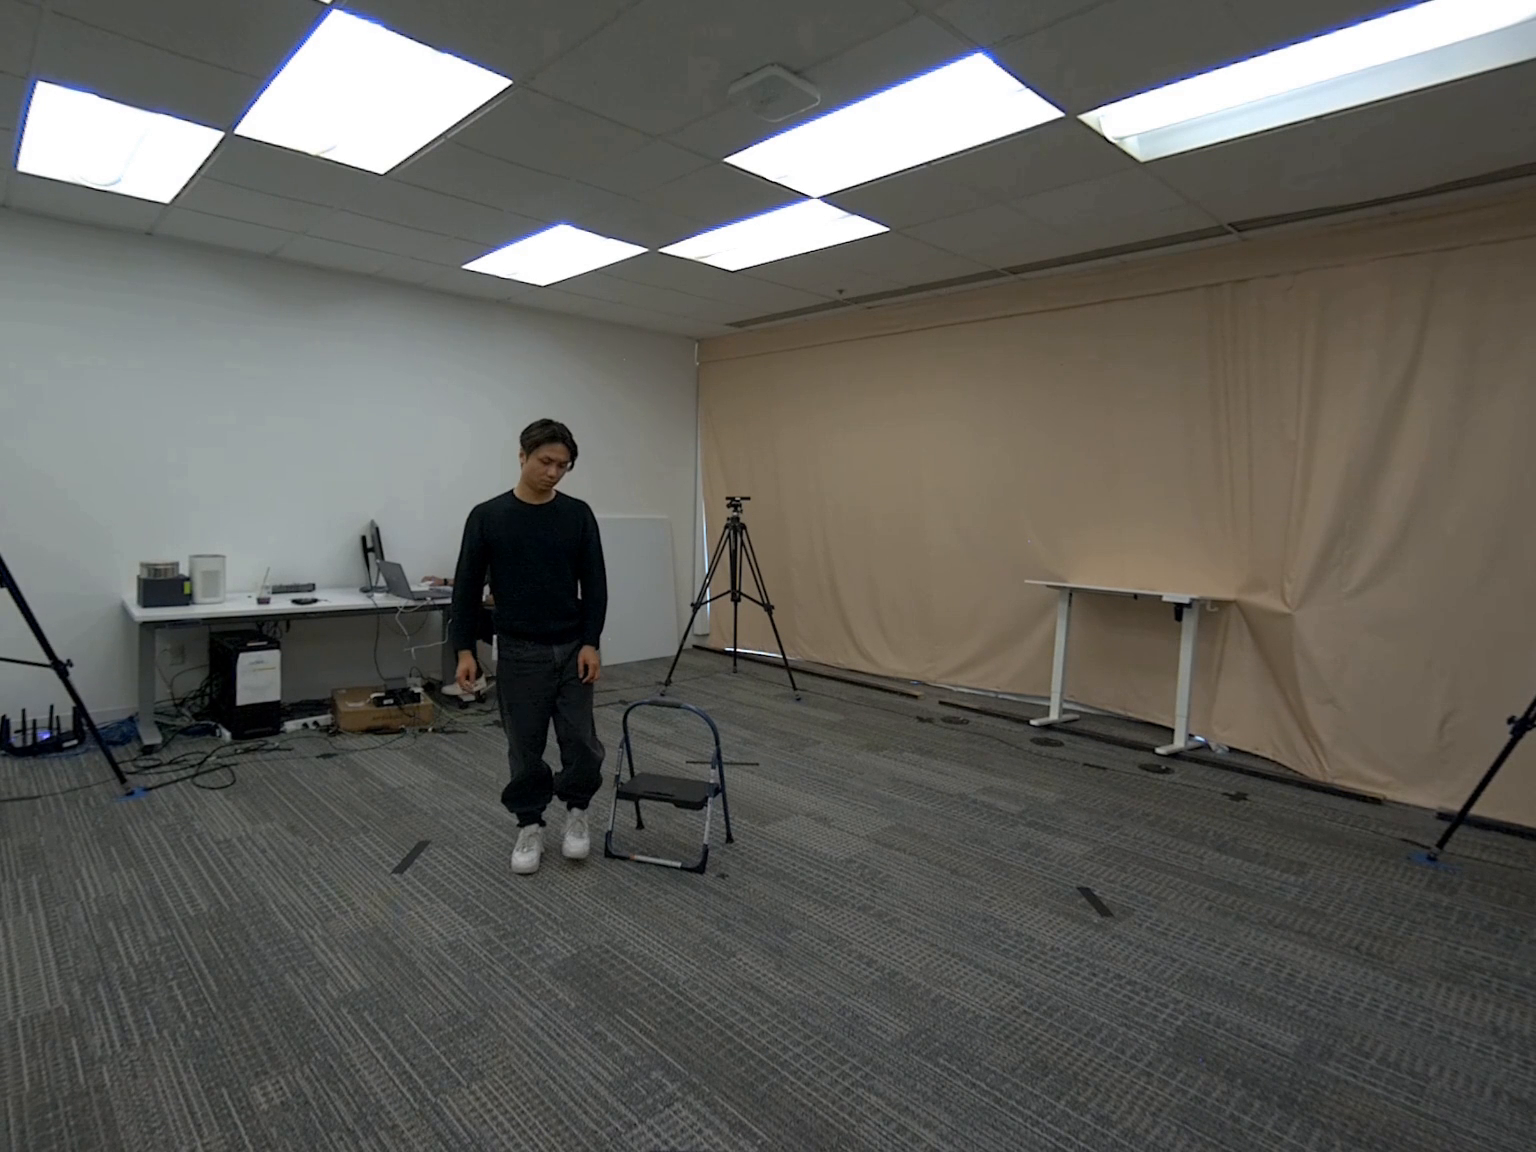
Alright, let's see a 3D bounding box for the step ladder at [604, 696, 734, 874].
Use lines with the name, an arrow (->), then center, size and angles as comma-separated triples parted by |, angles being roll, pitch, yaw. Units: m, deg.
step ladder -> -0.385, 0.781, 3.328 | 0.436, 0.605, 0.346 | 2, 3, 15
